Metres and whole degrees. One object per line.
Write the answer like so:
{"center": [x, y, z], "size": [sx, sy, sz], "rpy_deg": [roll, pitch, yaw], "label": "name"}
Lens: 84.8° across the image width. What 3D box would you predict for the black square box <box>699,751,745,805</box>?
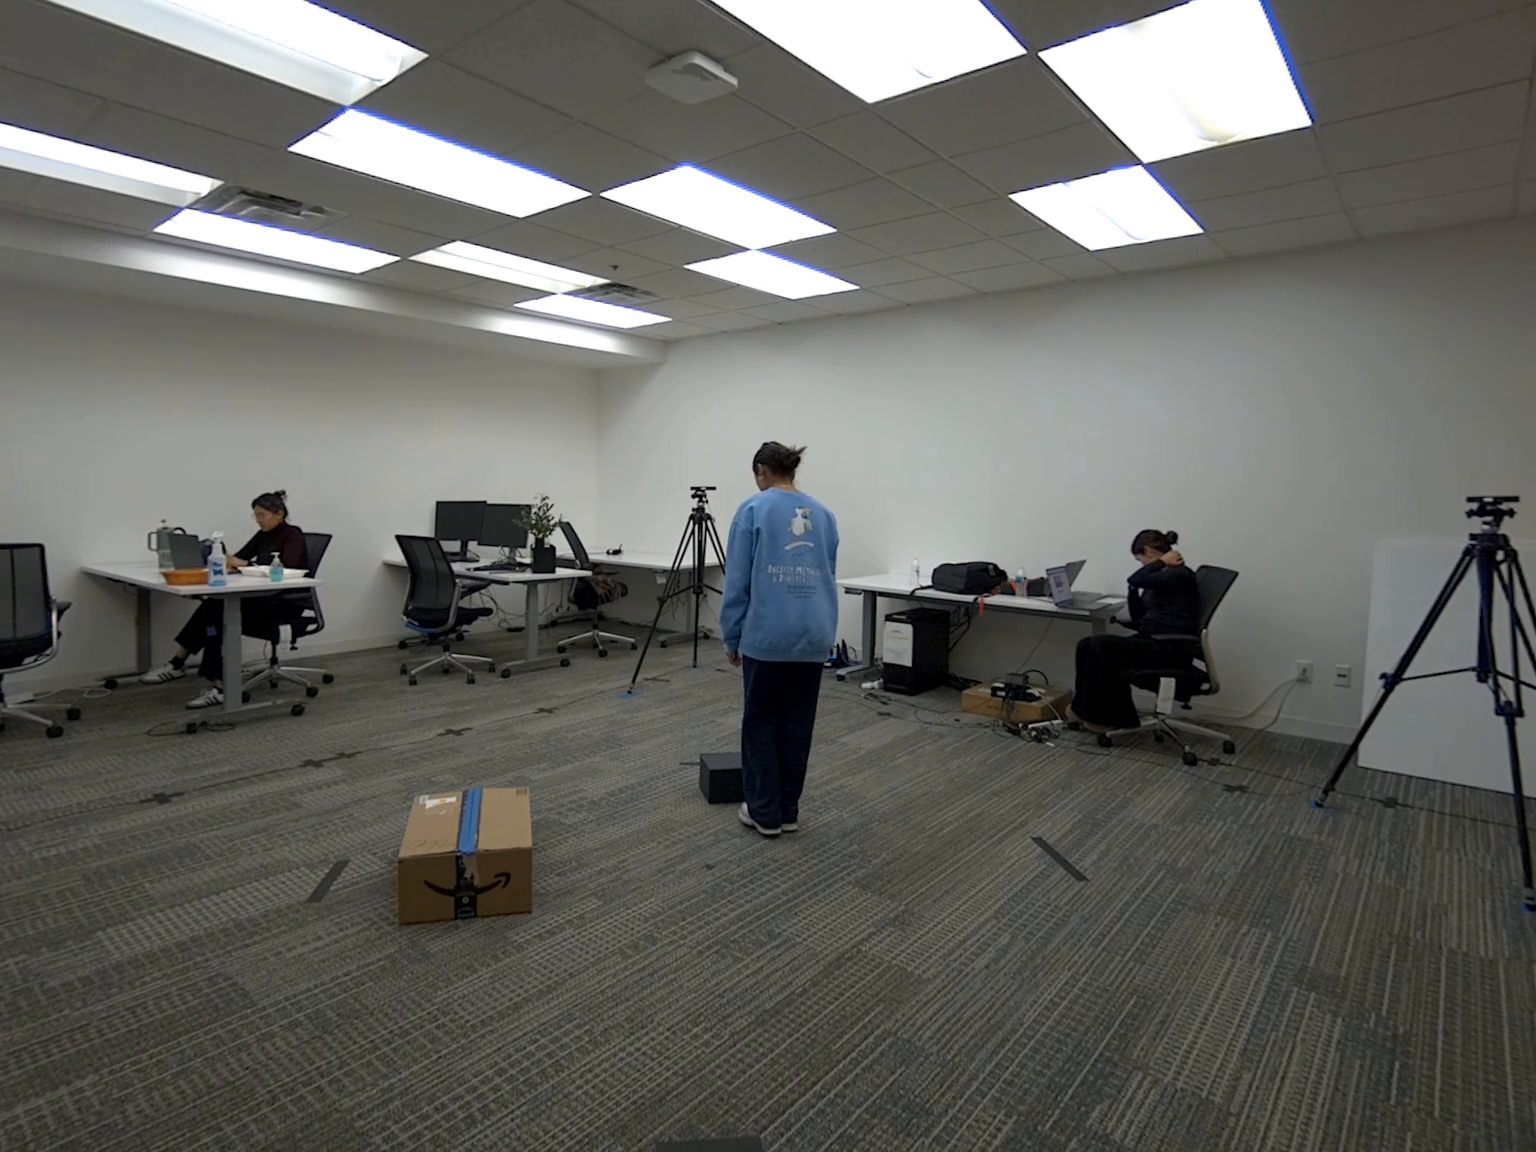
{"center": [-0.197, 0.905, 3.866], "size": [0.214, 0.155, 0.232], "rpy_deg": [-1, 5, -14], "label": "black square box"}
